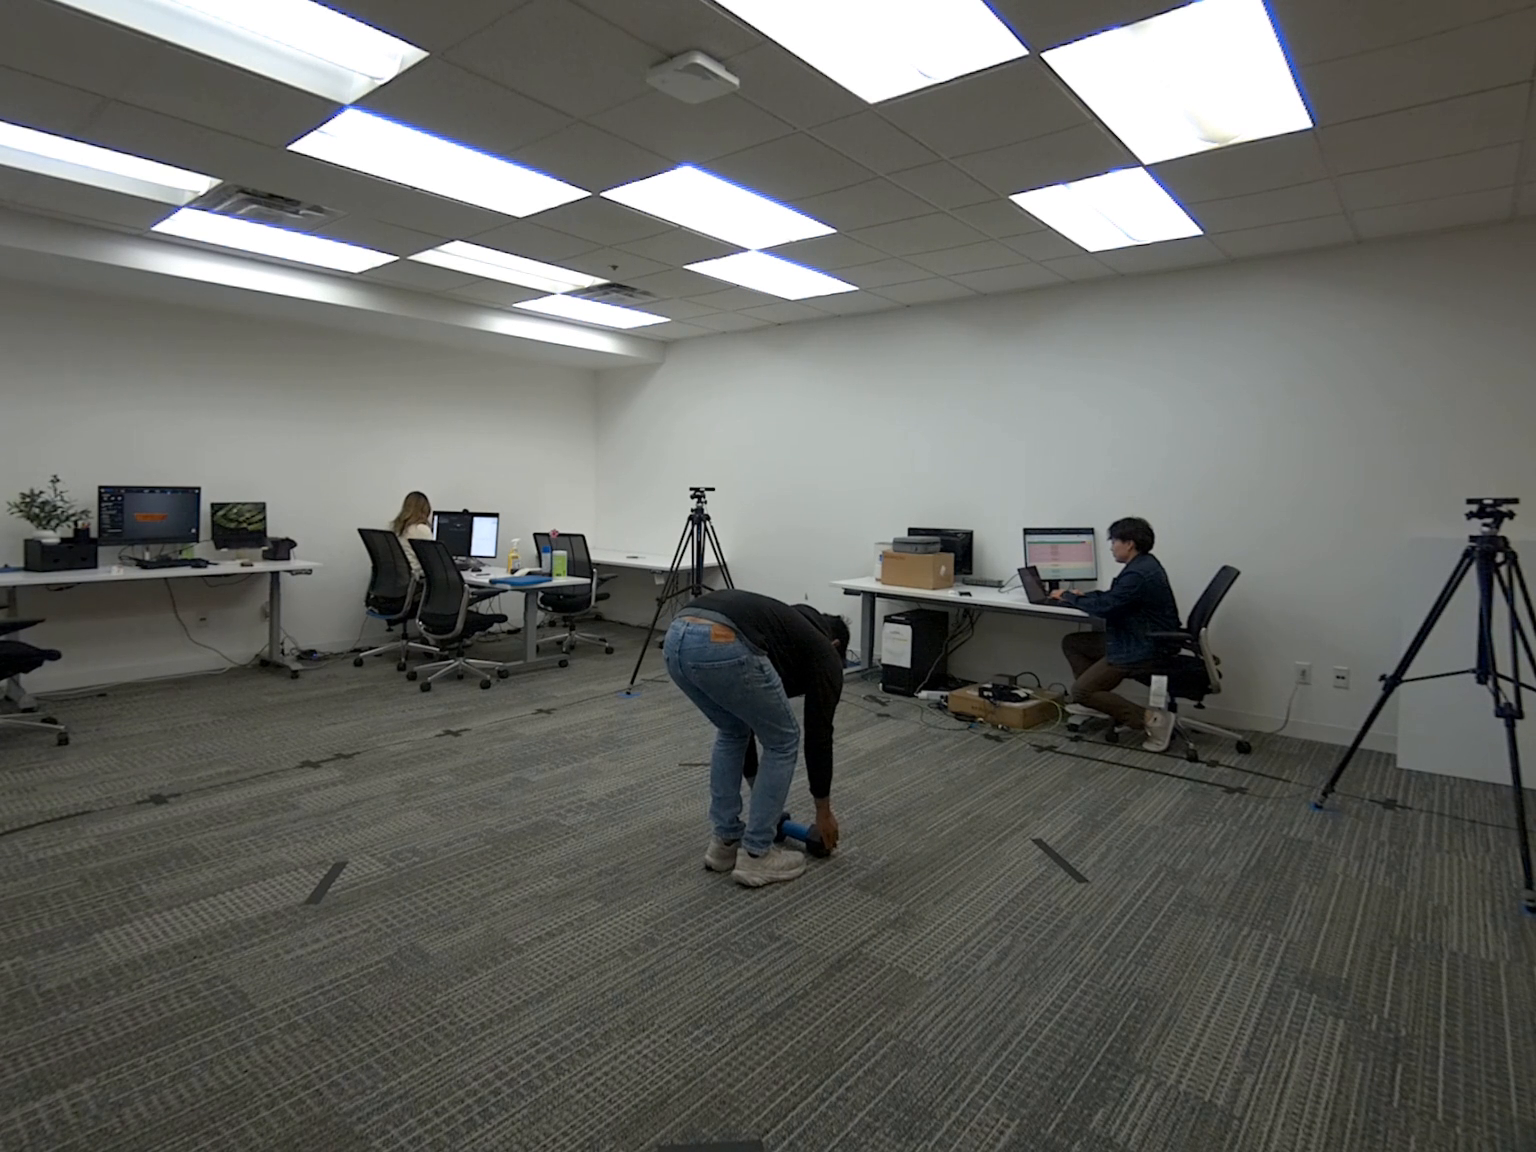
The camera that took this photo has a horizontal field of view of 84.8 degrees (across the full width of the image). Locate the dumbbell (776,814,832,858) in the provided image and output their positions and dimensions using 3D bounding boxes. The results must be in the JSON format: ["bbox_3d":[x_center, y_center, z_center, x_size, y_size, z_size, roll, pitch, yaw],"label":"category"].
[{"bbox_3d":[0.108,0.996,3.315,0.303,0.109,0.118,5,-8,41],"label":"dumbbell"}]
